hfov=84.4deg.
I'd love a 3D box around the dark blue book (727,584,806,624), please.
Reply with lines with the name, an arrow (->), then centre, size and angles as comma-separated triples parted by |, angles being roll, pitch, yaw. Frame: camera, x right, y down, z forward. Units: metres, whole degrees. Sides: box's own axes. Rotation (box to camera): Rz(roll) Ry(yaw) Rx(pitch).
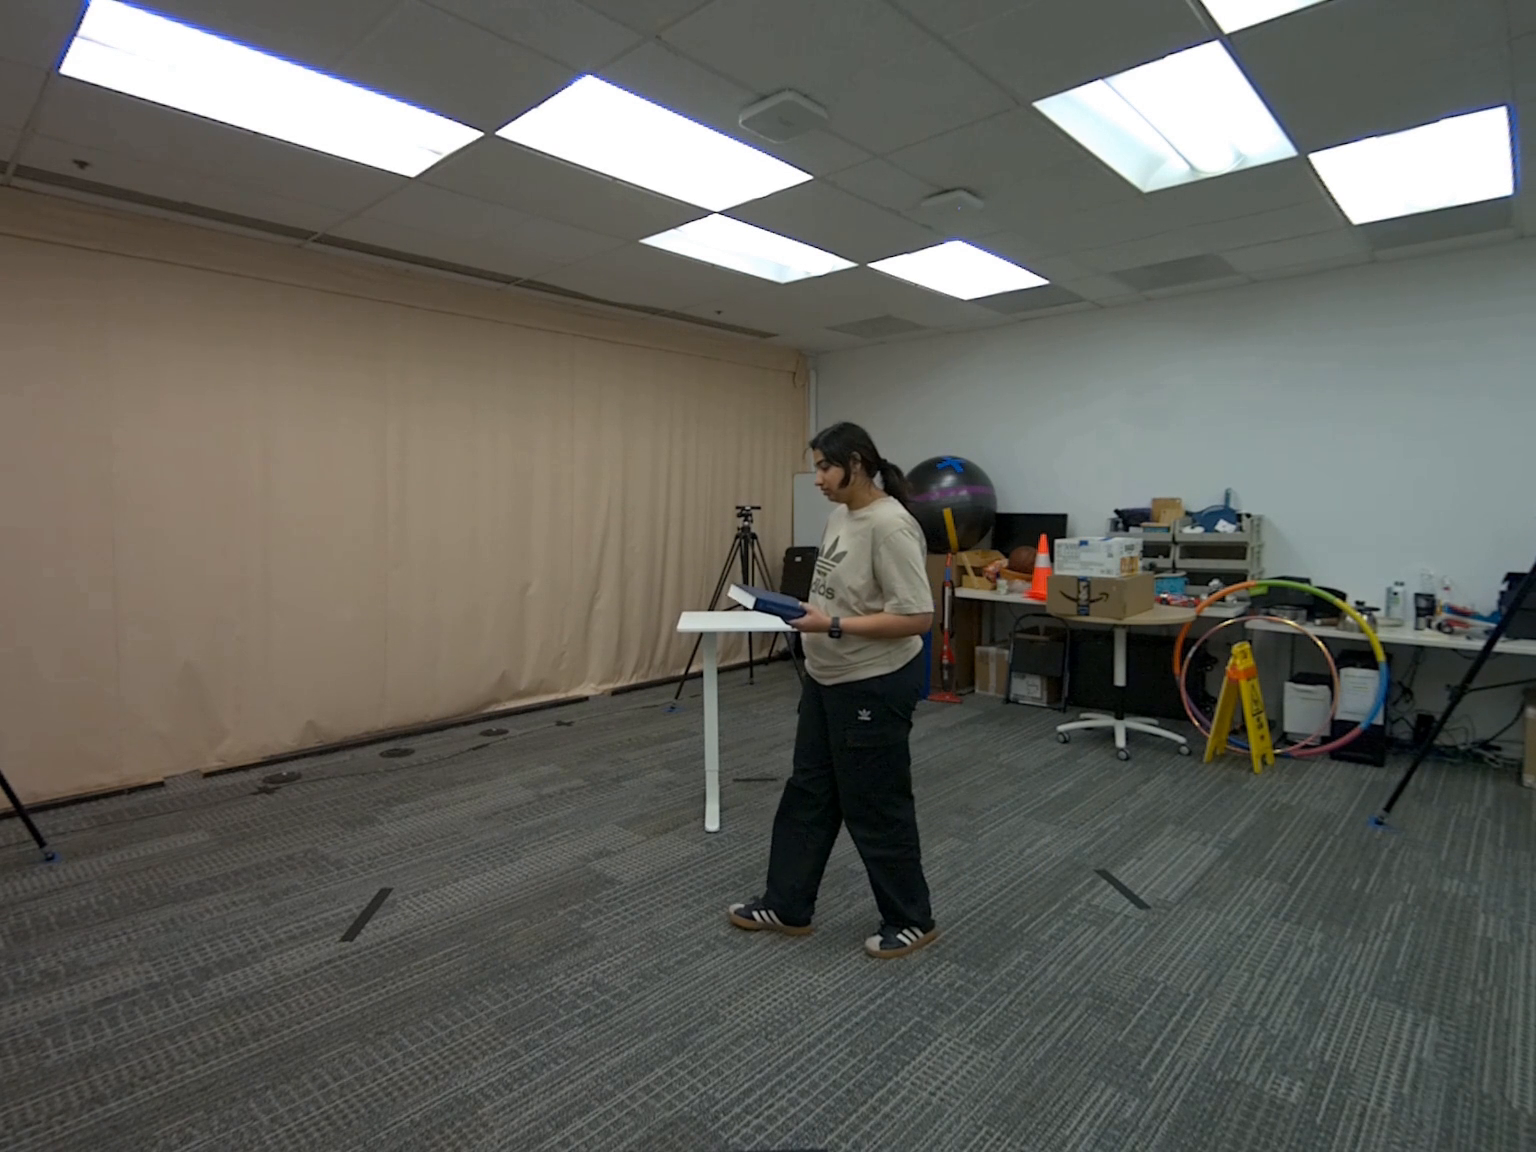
dark blue book -> 0.014, 0.083, 2.527 | 0.238, 0.045, 0.169 | 15, 6, -30
